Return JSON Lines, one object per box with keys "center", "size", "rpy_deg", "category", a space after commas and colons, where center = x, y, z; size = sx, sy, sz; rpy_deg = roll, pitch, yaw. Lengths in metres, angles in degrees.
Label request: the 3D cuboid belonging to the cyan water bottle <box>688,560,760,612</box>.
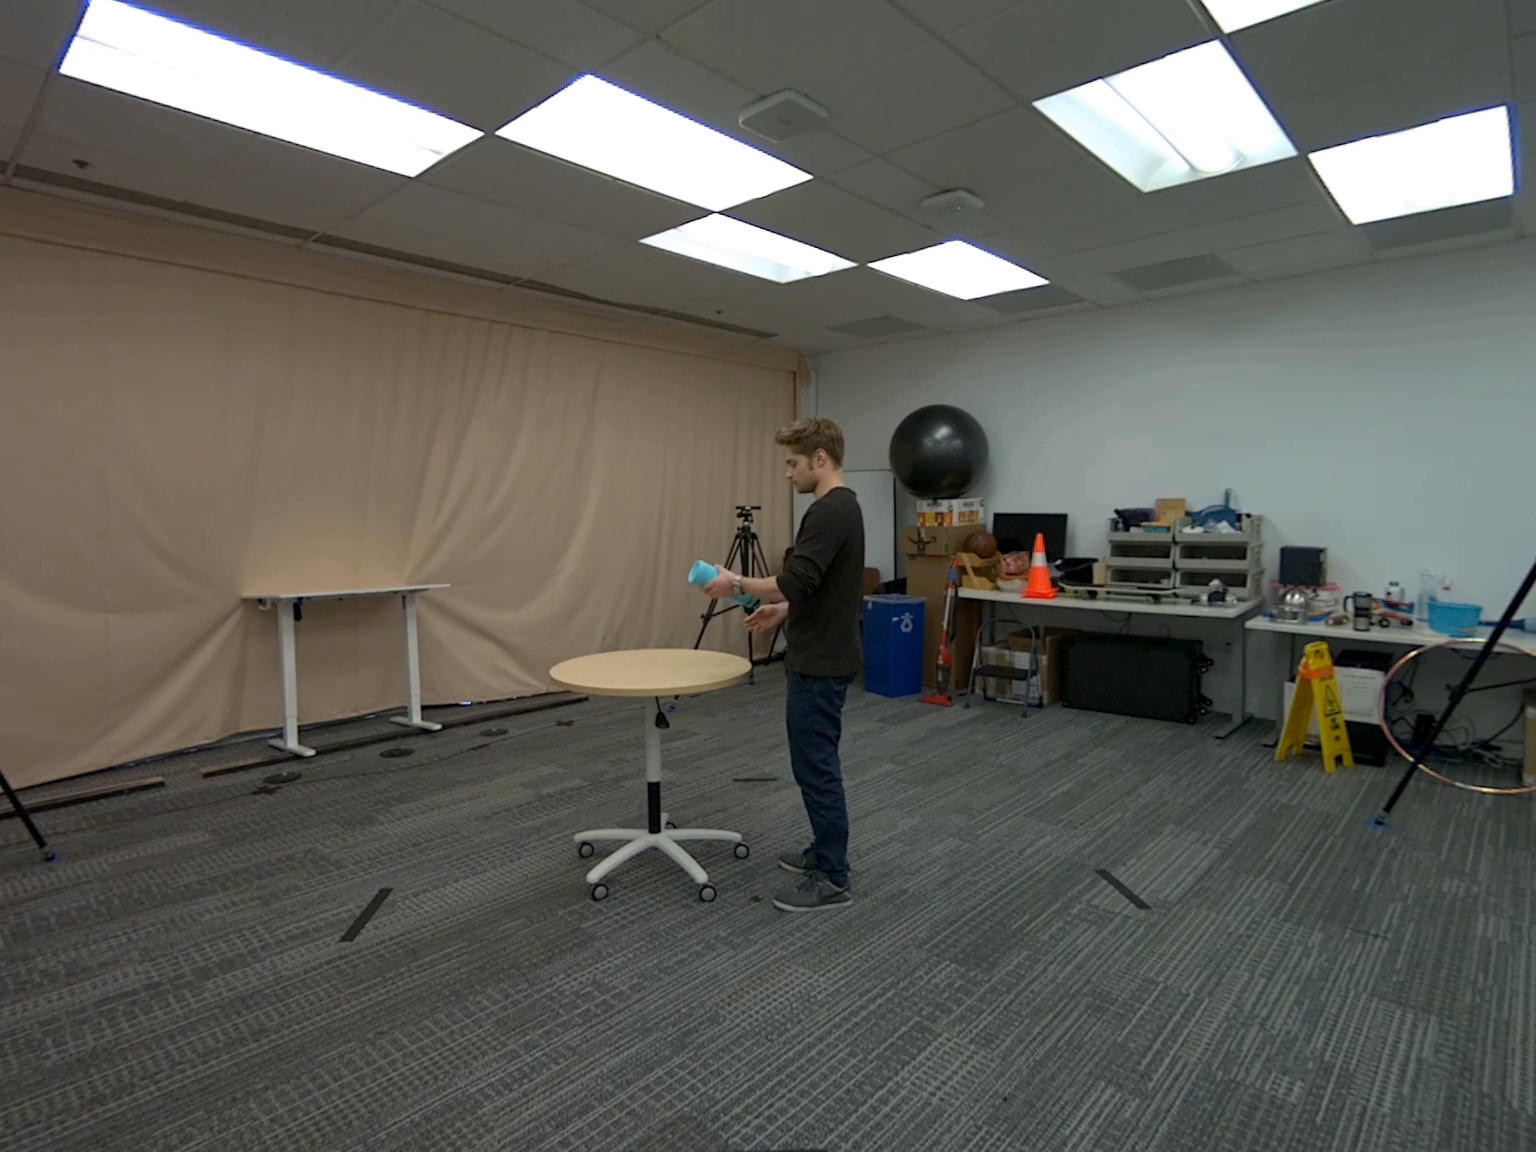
{"center": [-0.144, 0.040, 3.069], "size": [0.277, 0.092, 0.094], "rpy_deg": [25, -5, -18], "category": "cyan water bottle"}
